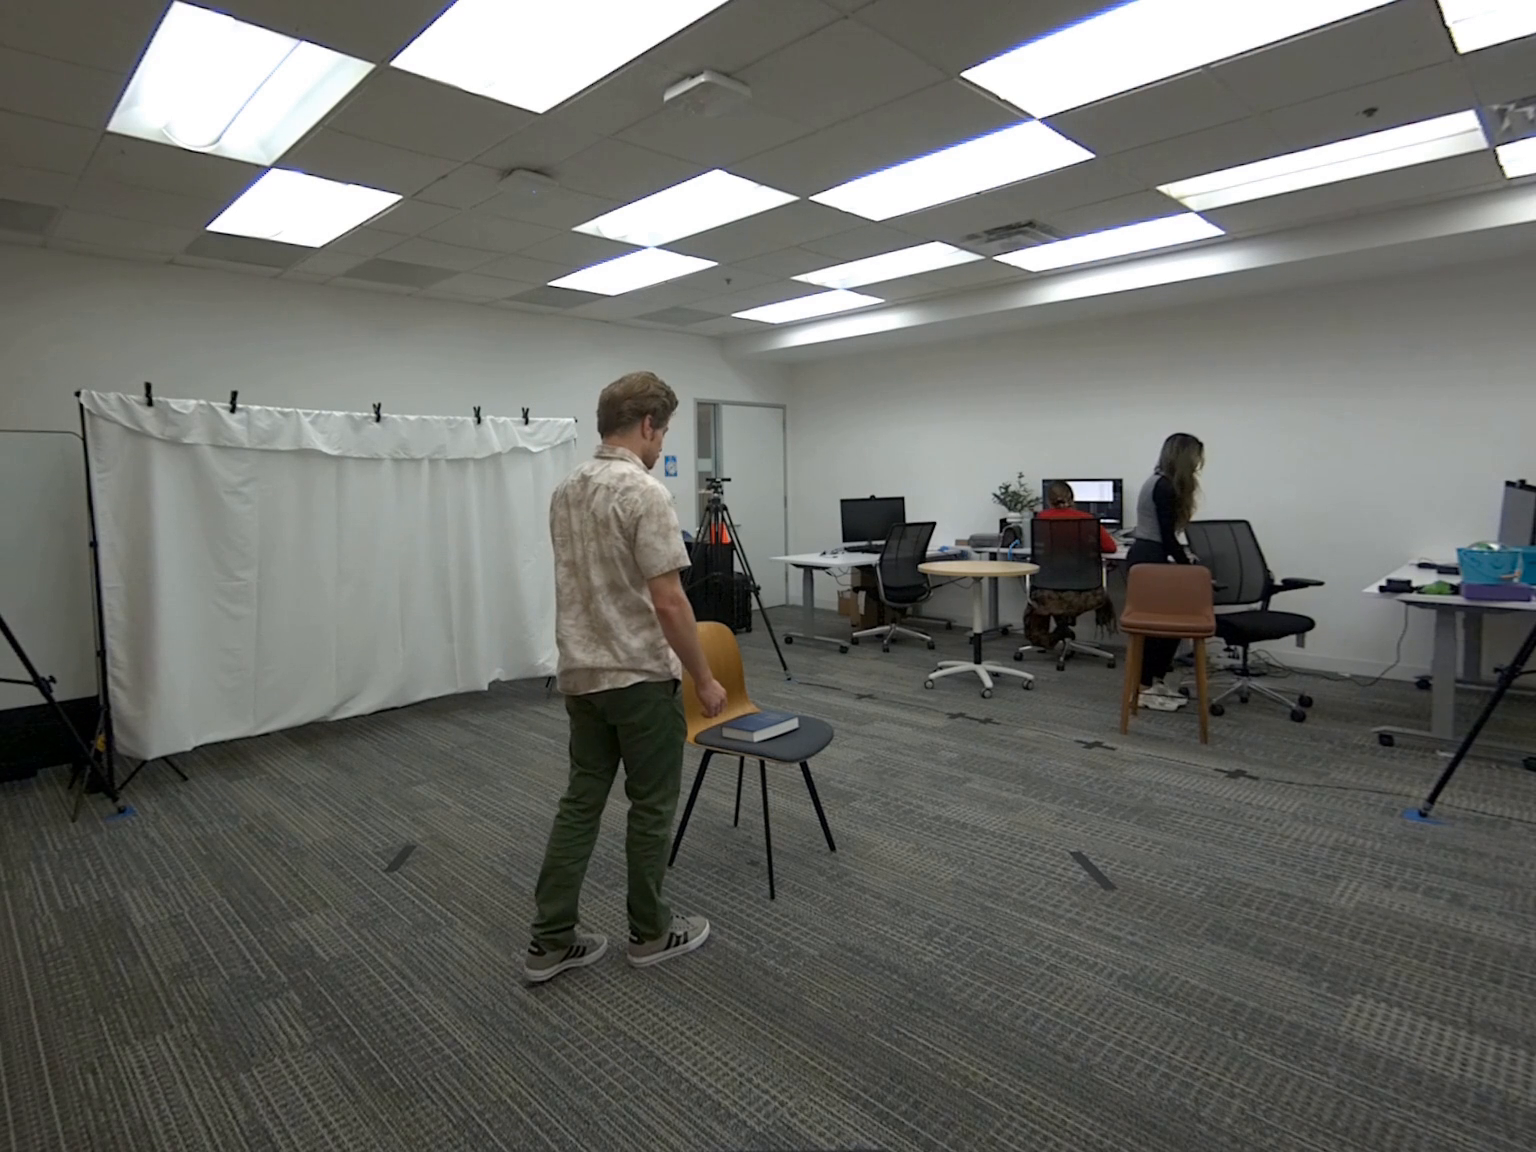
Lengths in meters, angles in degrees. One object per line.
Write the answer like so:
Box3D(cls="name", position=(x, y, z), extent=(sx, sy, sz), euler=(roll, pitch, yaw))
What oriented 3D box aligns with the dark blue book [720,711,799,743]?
Box3D(cls="dark blue book", position=(-0.027, 0.538, 3.080), extent=(0.168, 0.045, 0.239), euler=(1, 6, 43))
